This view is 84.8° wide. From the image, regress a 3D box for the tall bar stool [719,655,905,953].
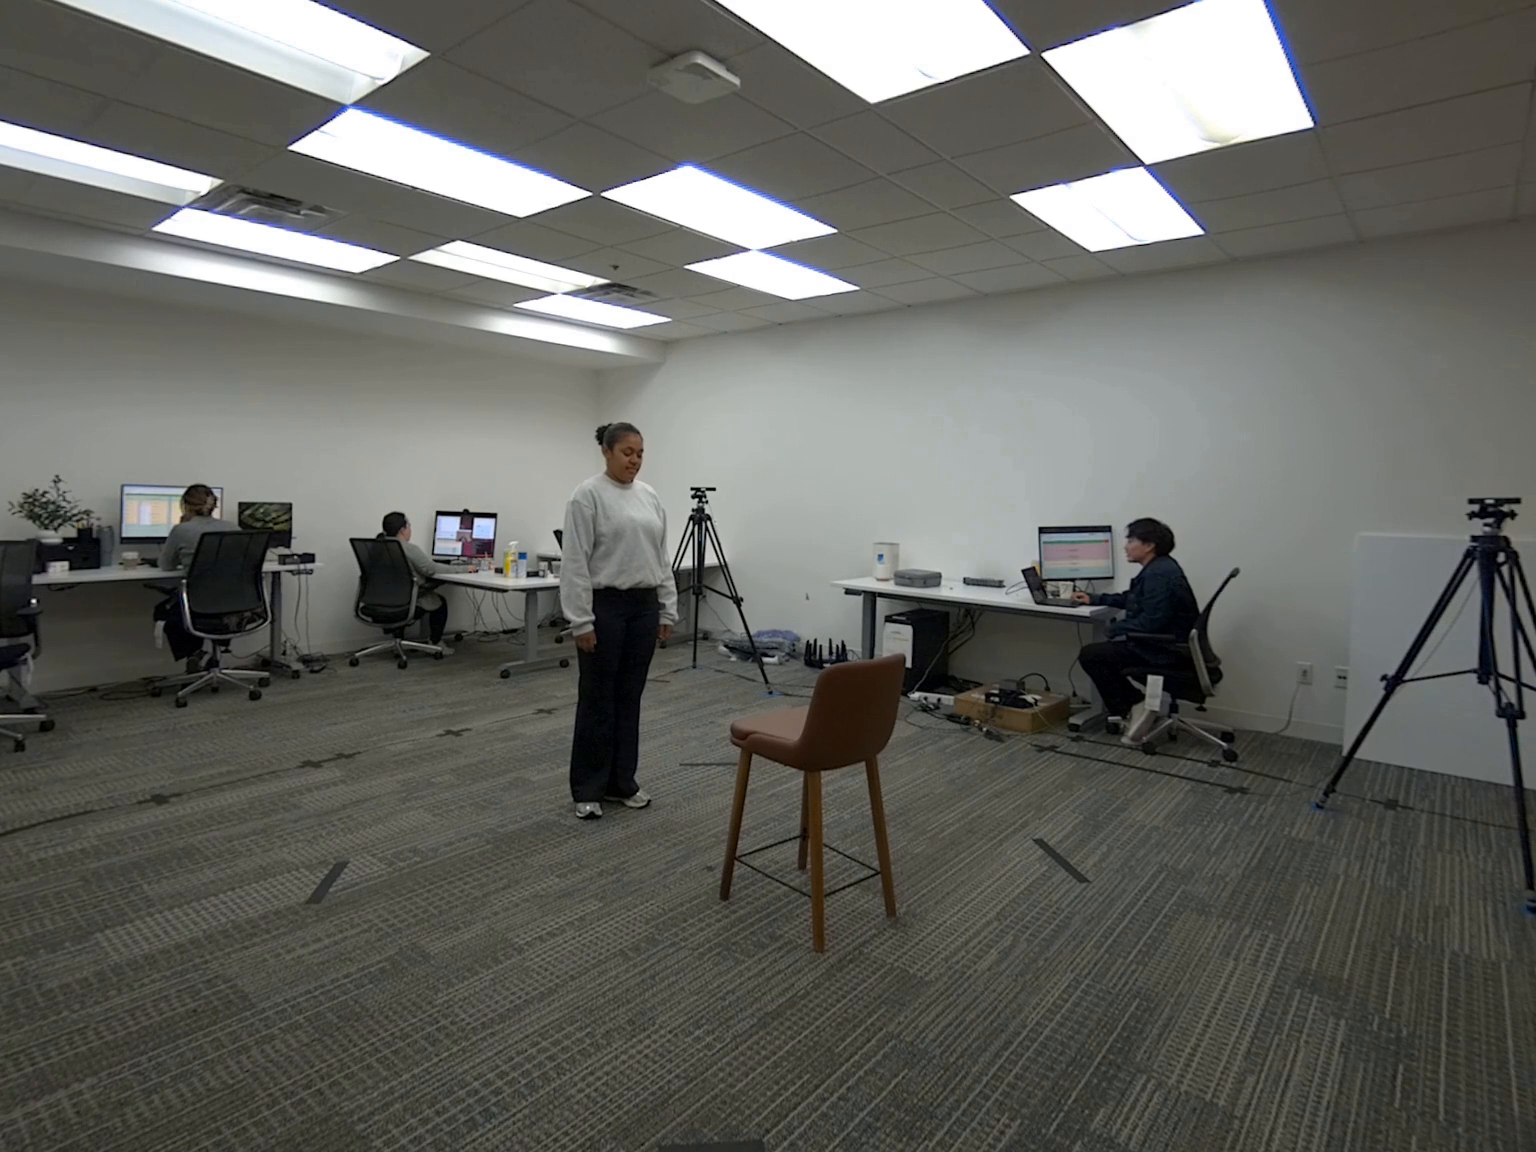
[{"bbox_3d":[0.147,0.668,2.816,0.442,0.886,0.484,-1,6,-42],"label":"tall bar stool"}]
